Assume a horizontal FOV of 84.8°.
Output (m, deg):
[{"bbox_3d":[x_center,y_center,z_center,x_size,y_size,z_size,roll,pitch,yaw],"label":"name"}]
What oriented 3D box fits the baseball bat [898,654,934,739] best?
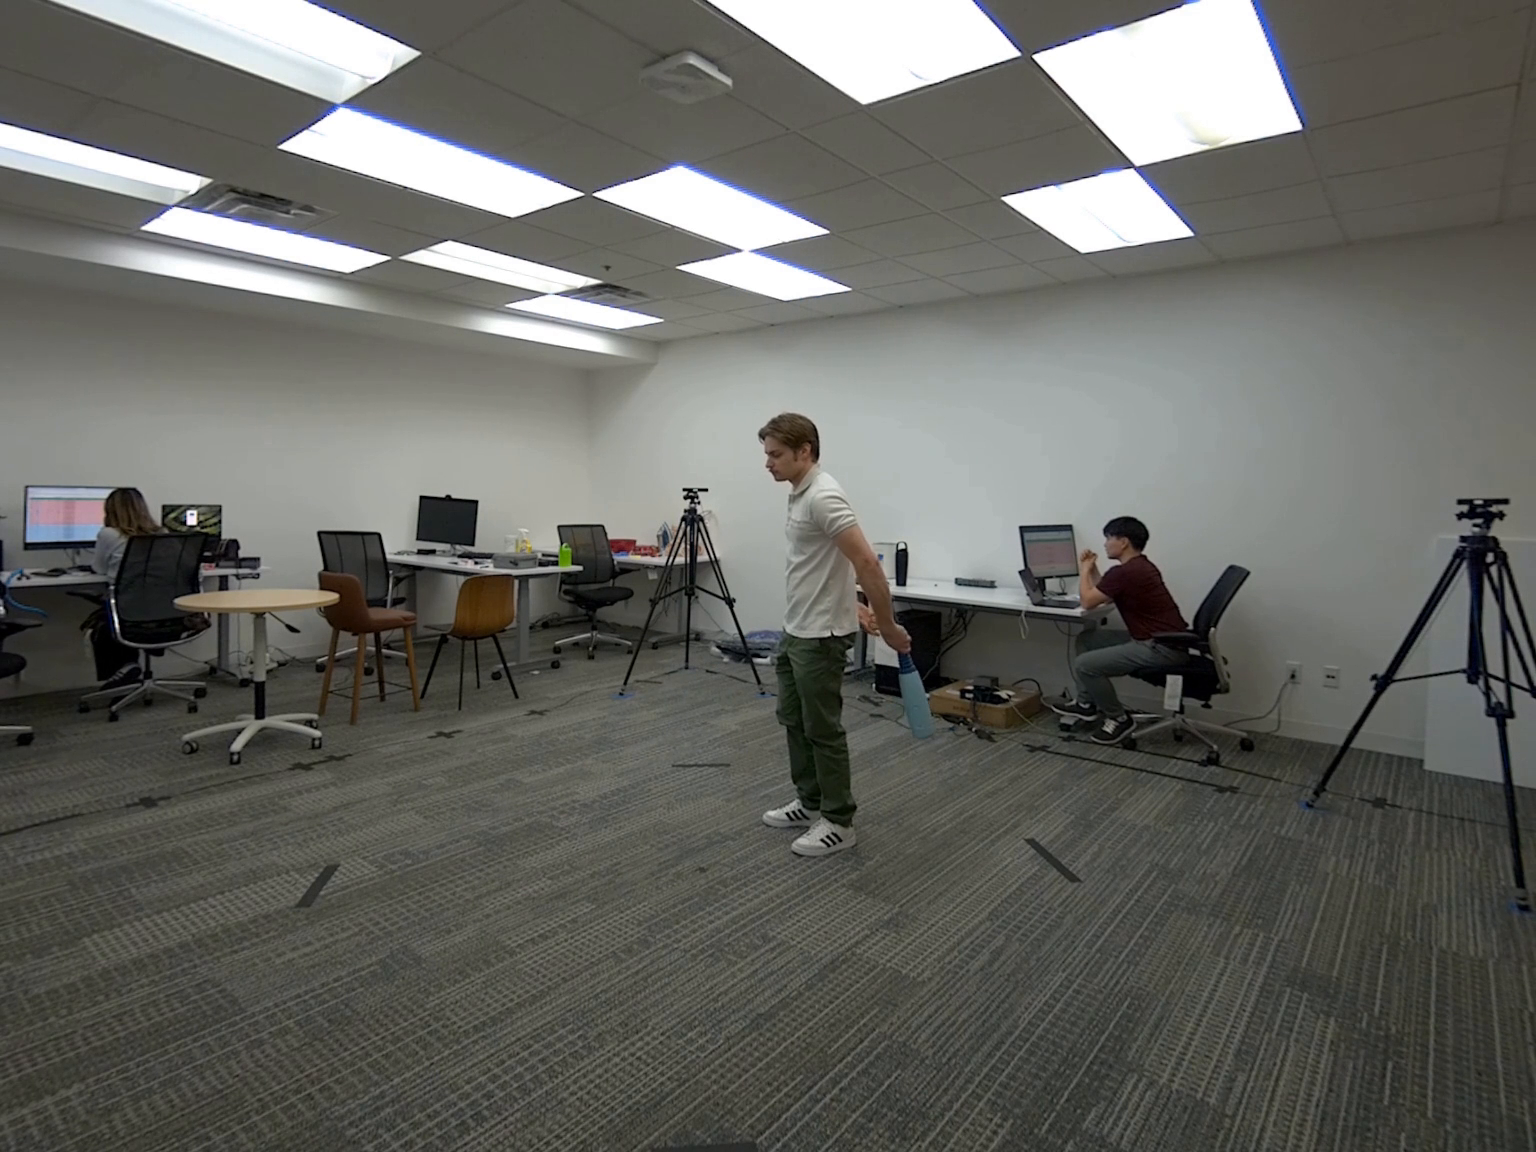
[{"bbox_3d":[0.500,0.349,3.189,0.089,0.546,0.088,-13,-5,-3],"label":"baseball bat"}]
